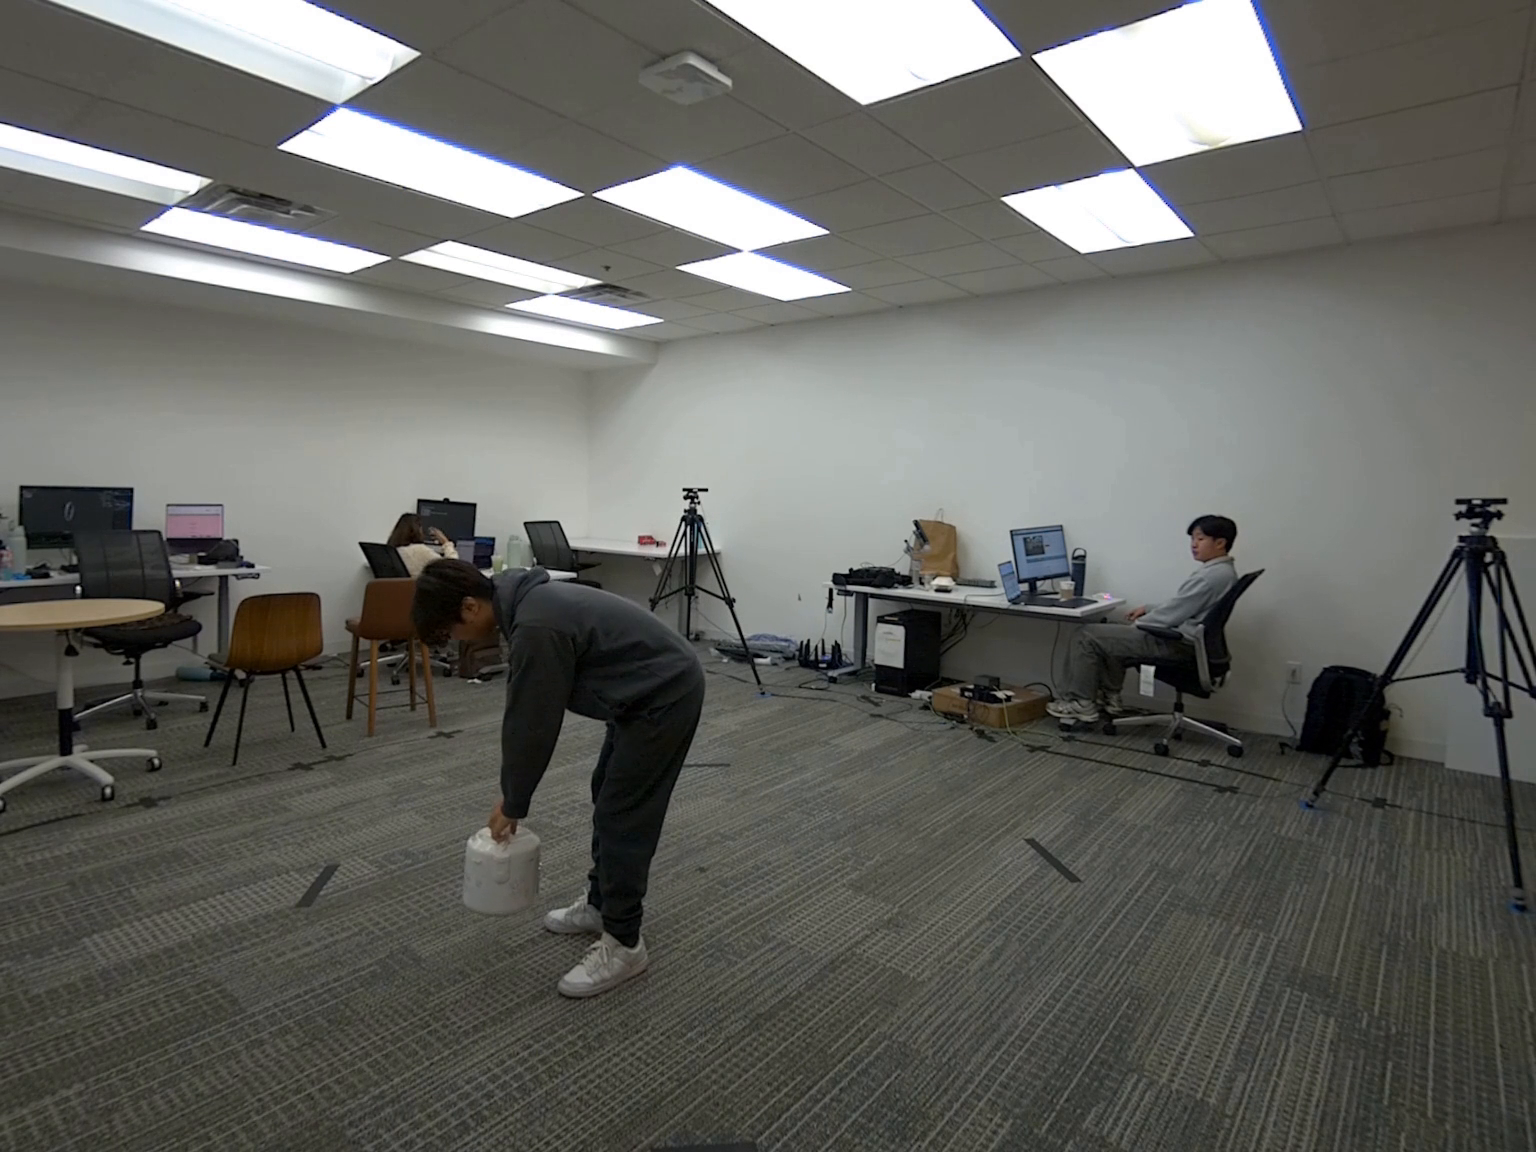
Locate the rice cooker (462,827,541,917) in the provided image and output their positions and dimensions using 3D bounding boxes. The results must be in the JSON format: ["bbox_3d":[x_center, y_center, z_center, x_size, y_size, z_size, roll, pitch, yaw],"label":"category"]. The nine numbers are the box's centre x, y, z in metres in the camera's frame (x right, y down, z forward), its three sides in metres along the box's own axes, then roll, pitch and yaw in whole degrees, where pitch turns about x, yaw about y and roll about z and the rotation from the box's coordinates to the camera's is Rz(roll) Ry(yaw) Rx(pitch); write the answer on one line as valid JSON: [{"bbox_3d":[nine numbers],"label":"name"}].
[{"bbox_3d":[-0.779,0.840,2.475,0.215,0.232,0.223,3,2,-12],"label":"rice cooker"}]
